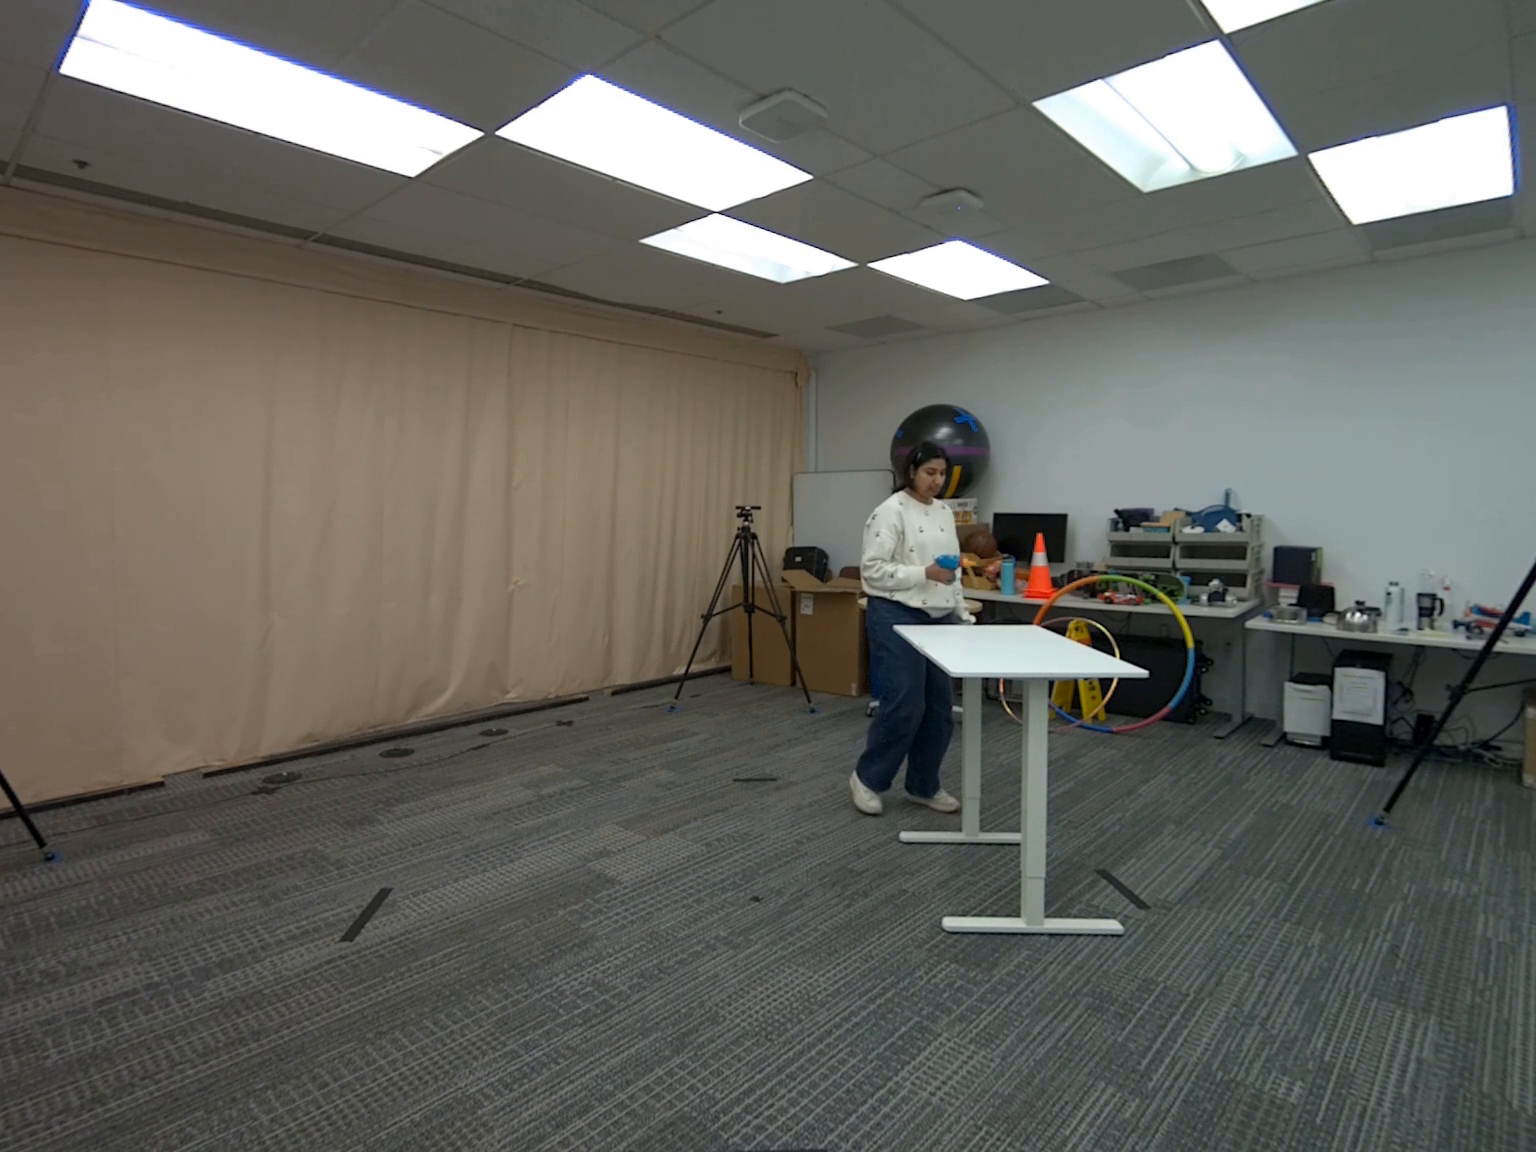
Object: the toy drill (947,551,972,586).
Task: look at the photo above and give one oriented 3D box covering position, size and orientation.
[{"bbox_3d":[0.764,-0.037,3.574,0.173,0.061,0.142,4,-39,16],"label":"toy drill"}]
